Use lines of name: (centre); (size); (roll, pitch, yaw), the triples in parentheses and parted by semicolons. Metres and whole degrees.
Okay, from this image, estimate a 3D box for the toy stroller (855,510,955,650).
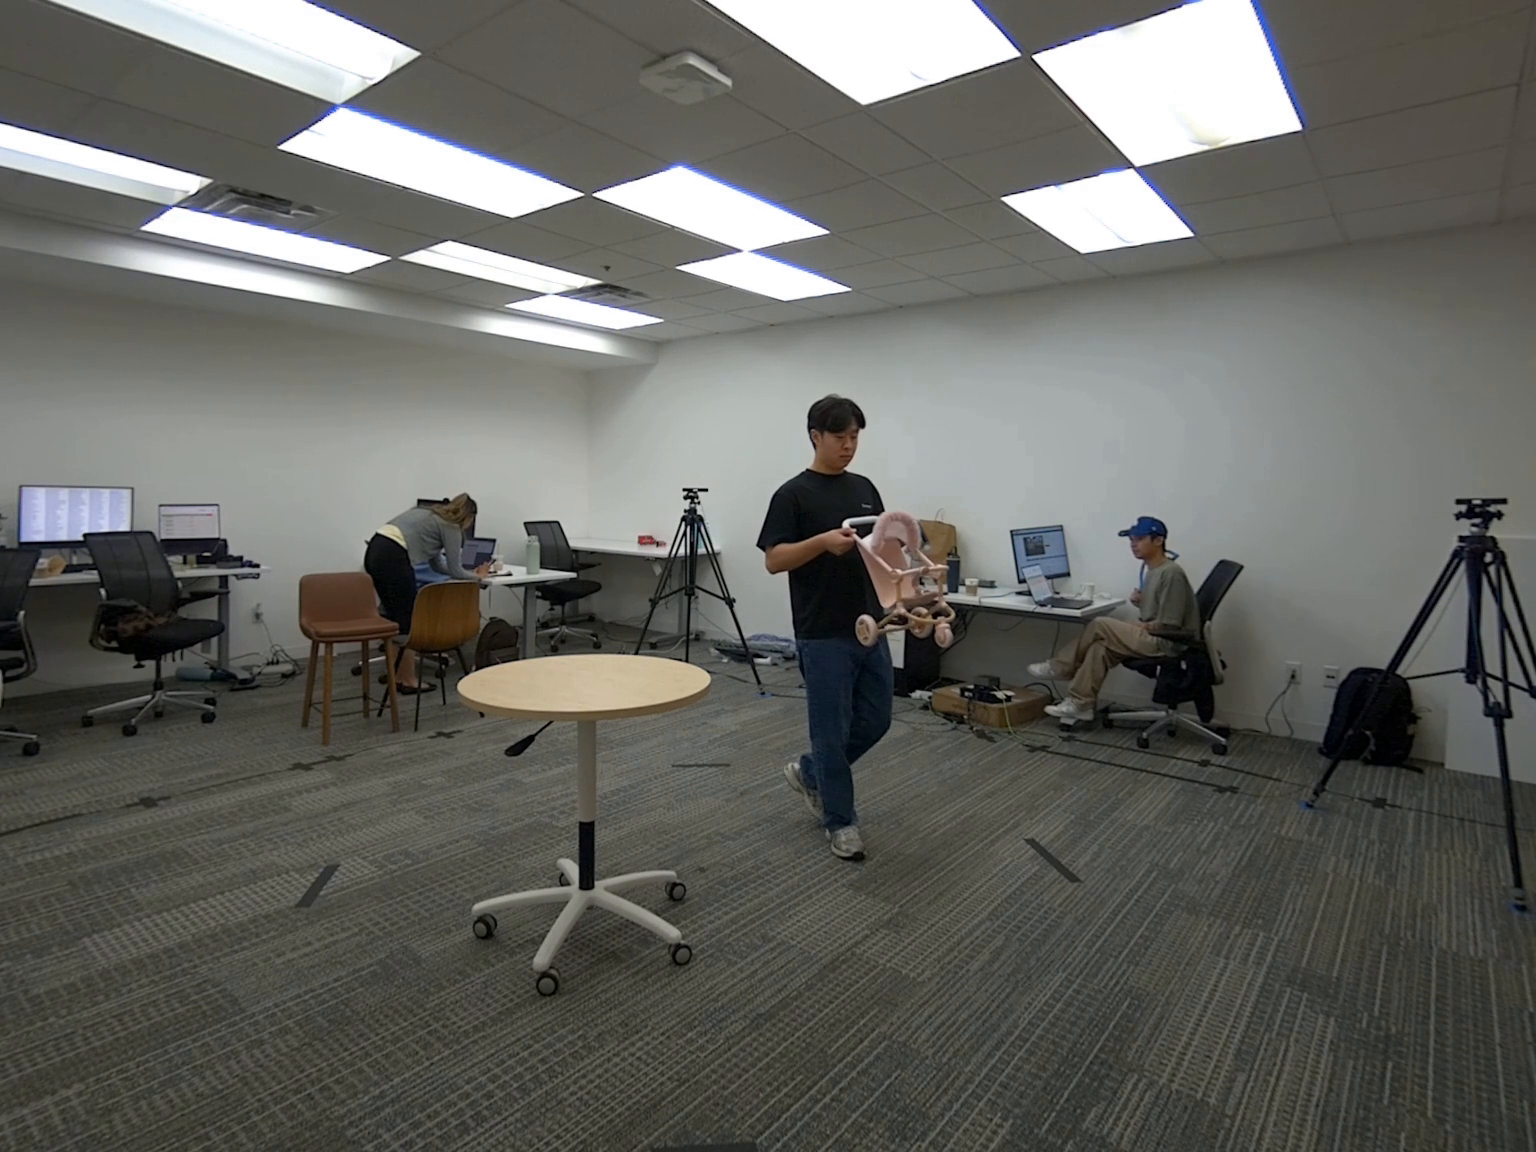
toy stroller: (0.456, 0.004, 2.963); (0.275, 0.542, 0.344); (-4, -13, -26)
